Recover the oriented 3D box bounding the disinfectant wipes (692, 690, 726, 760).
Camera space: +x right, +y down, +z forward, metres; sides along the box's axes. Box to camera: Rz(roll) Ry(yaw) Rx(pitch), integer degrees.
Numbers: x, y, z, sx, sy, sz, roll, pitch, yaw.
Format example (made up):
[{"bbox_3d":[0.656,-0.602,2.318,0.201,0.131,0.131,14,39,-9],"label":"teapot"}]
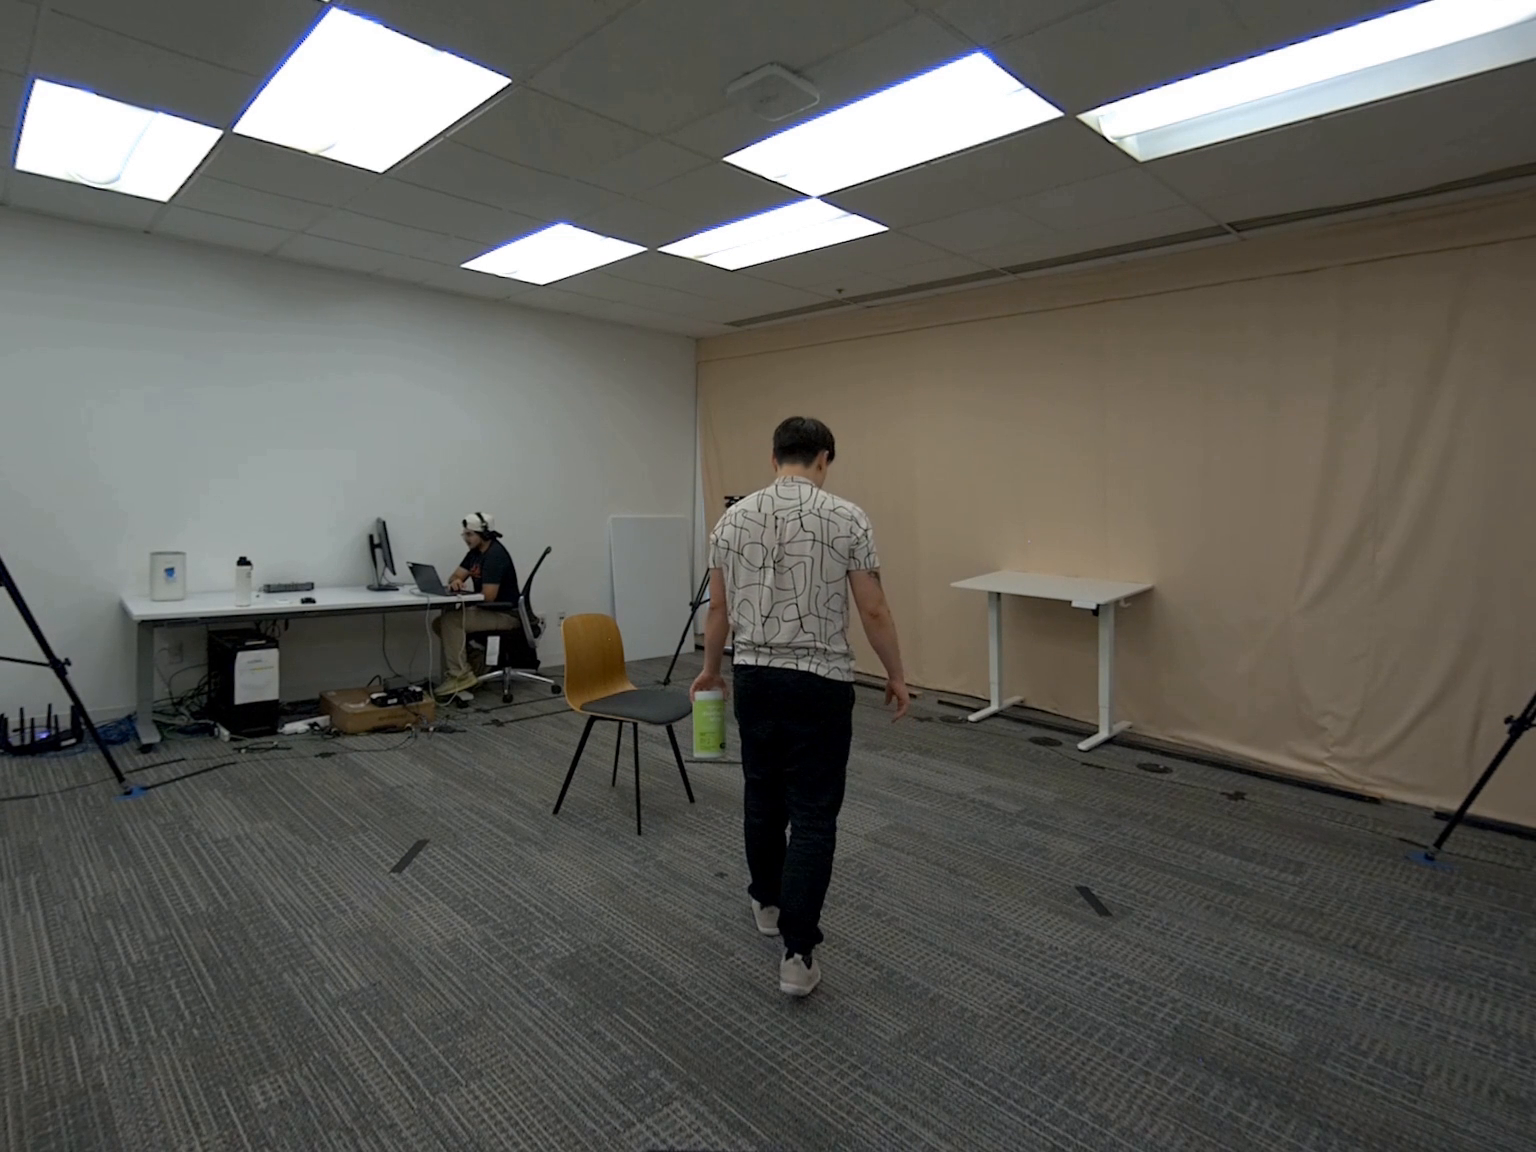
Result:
[{"bbox_3d":[-0.195,0.487,2.775,0.118,0.218,0.117,-1,-4,-1],"label":"disinfectant wipes"}]
